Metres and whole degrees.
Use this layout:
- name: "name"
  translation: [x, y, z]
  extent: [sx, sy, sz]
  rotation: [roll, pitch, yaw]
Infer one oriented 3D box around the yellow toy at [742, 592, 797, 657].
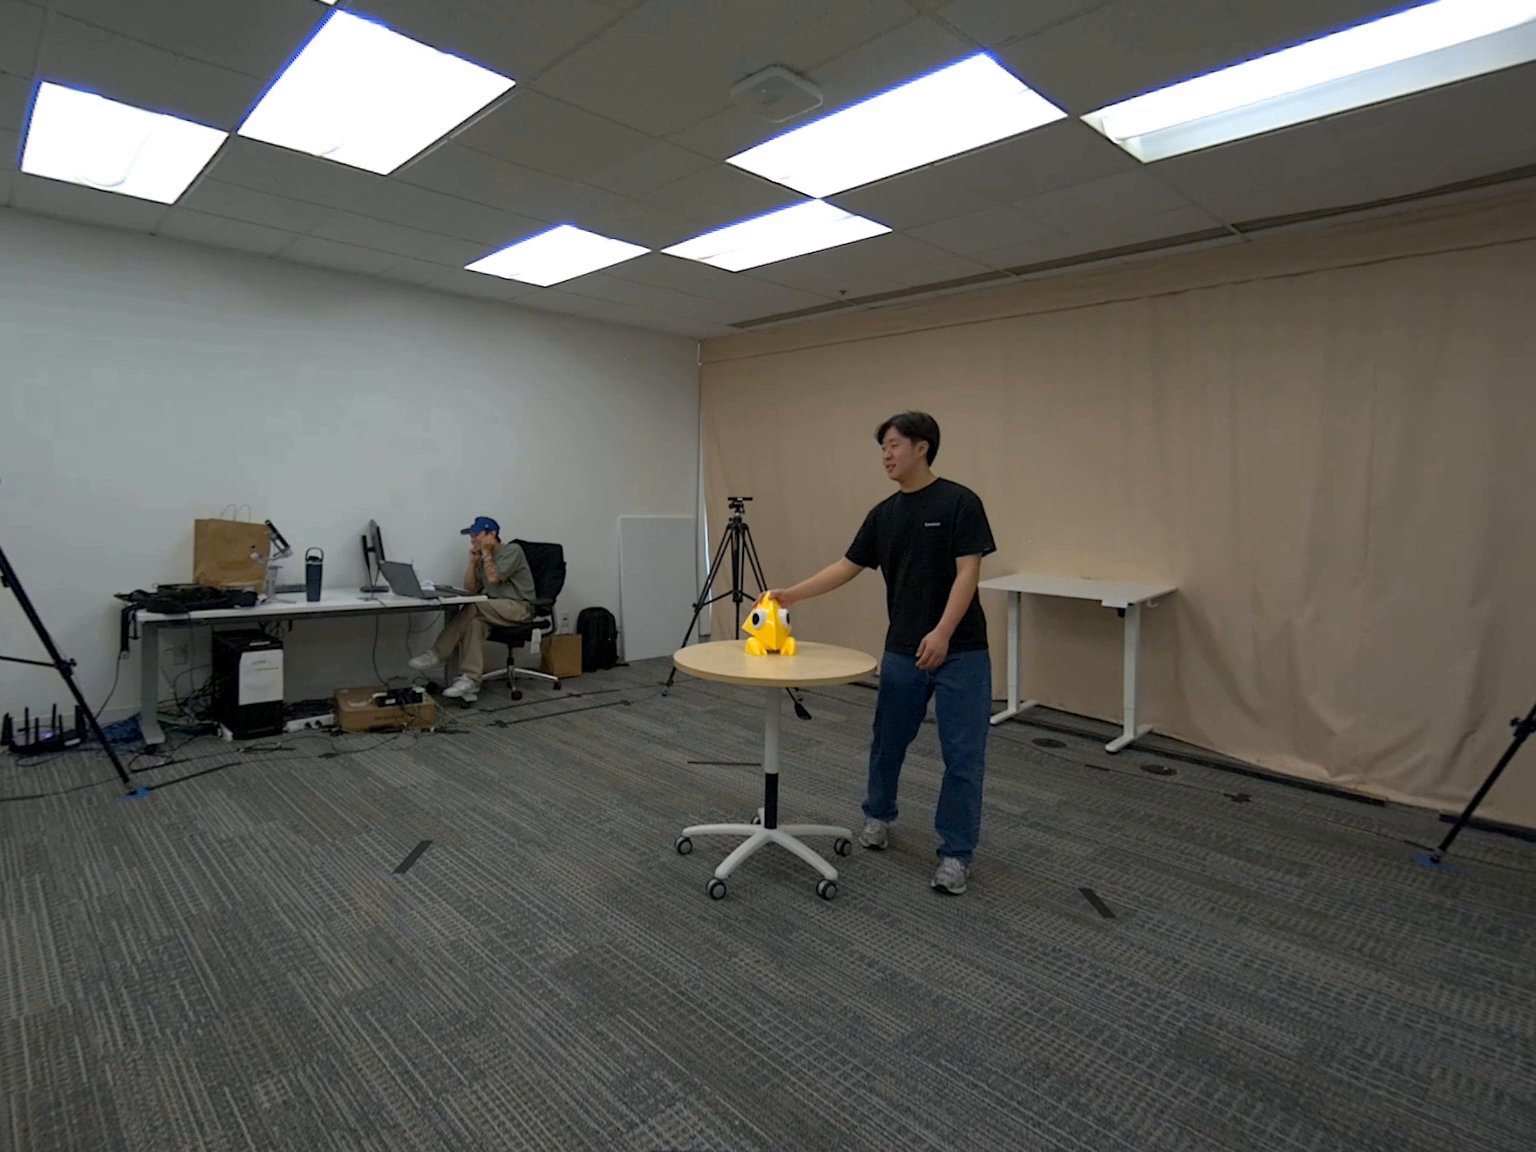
- name: "yellow toy"
  translation: [0.010, 0.182, 3.291]
  extent: [0.203, 0.230, 0.195]
  rotation: [1, 3, -9]
